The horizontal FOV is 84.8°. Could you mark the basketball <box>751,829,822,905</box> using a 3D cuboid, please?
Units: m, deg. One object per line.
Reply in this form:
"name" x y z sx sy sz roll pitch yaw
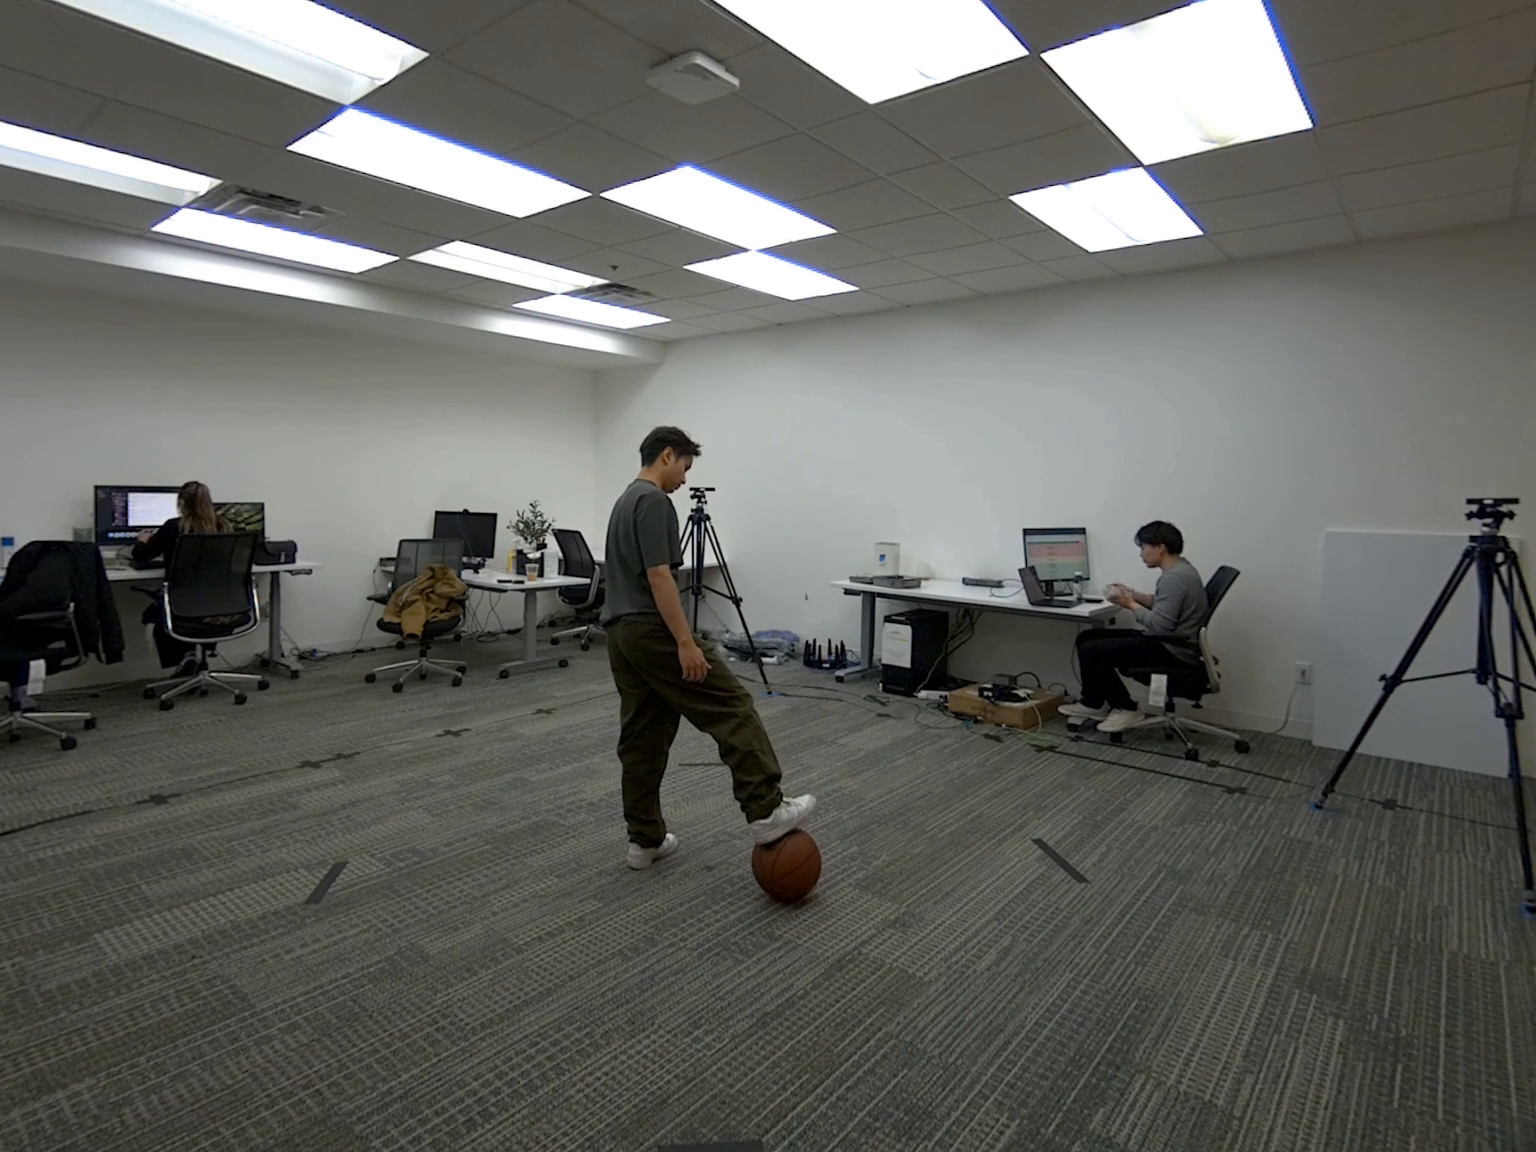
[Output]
"basketball" 0.054 0.976 2.902 0.235 0.235 0.237 1 4 -2
